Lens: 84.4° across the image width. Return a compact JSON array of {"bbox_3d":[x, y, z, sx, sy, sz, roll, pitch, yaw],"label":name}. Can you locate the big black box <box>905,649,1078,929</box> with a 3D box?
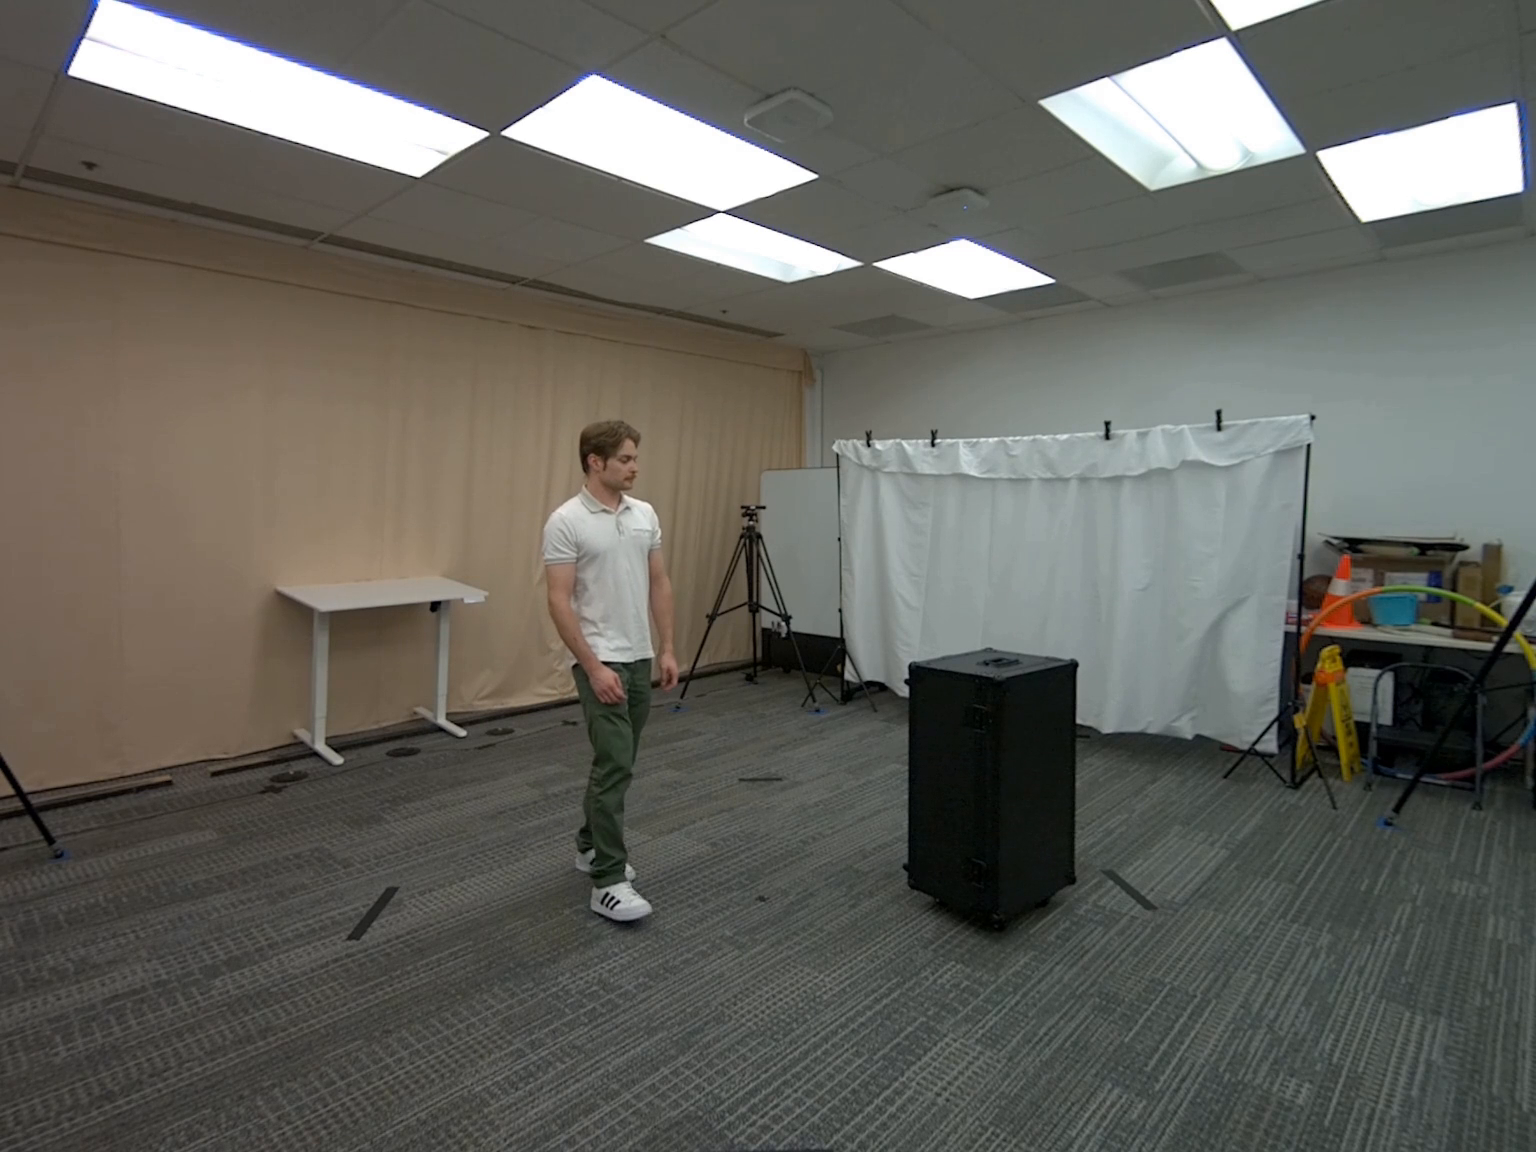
[{"bbox_3d":[0.780,0.727,2.911,0.507,0.867,0.398,-2,3,-41],"label":"big black box"}]
